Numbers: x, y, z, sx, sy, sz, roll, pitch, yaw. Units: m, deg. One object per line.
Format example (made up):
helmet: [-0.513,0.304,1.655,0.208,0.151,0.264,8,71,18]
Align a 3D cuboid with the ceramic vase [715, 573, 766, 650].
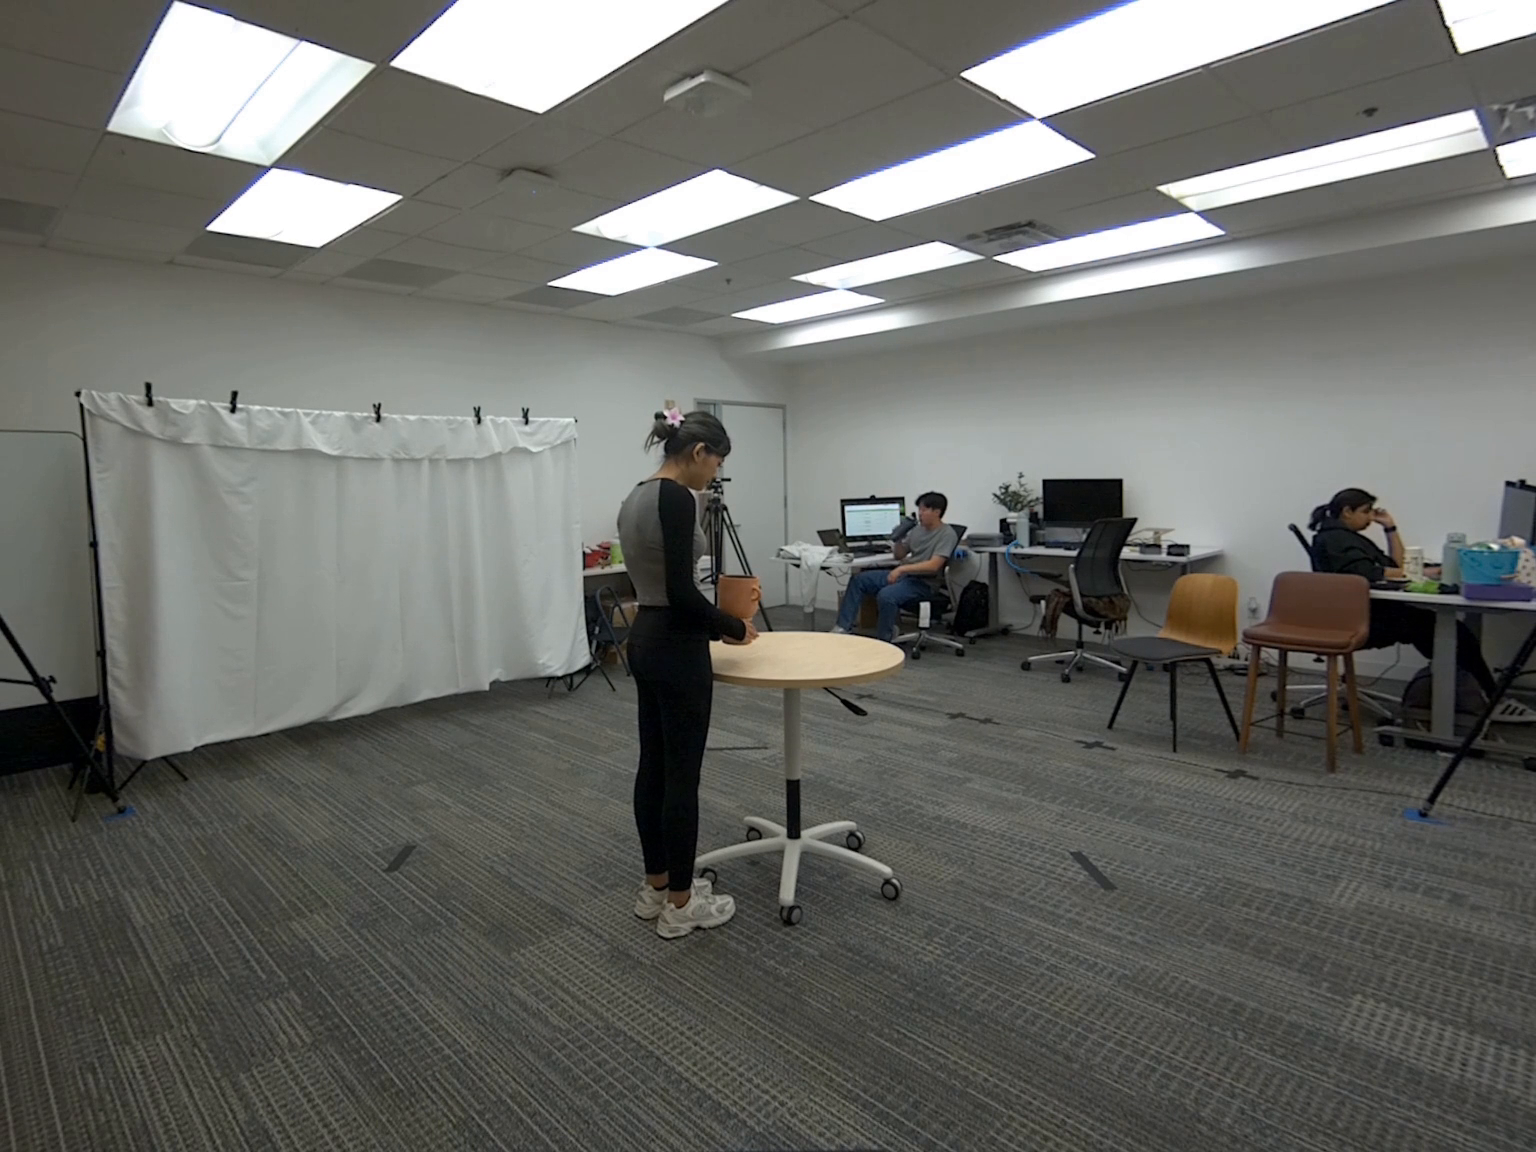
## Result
ceramic vase: [-0.098,0.112,2.815,0.133,0.219,0.161,2,5,-10]
